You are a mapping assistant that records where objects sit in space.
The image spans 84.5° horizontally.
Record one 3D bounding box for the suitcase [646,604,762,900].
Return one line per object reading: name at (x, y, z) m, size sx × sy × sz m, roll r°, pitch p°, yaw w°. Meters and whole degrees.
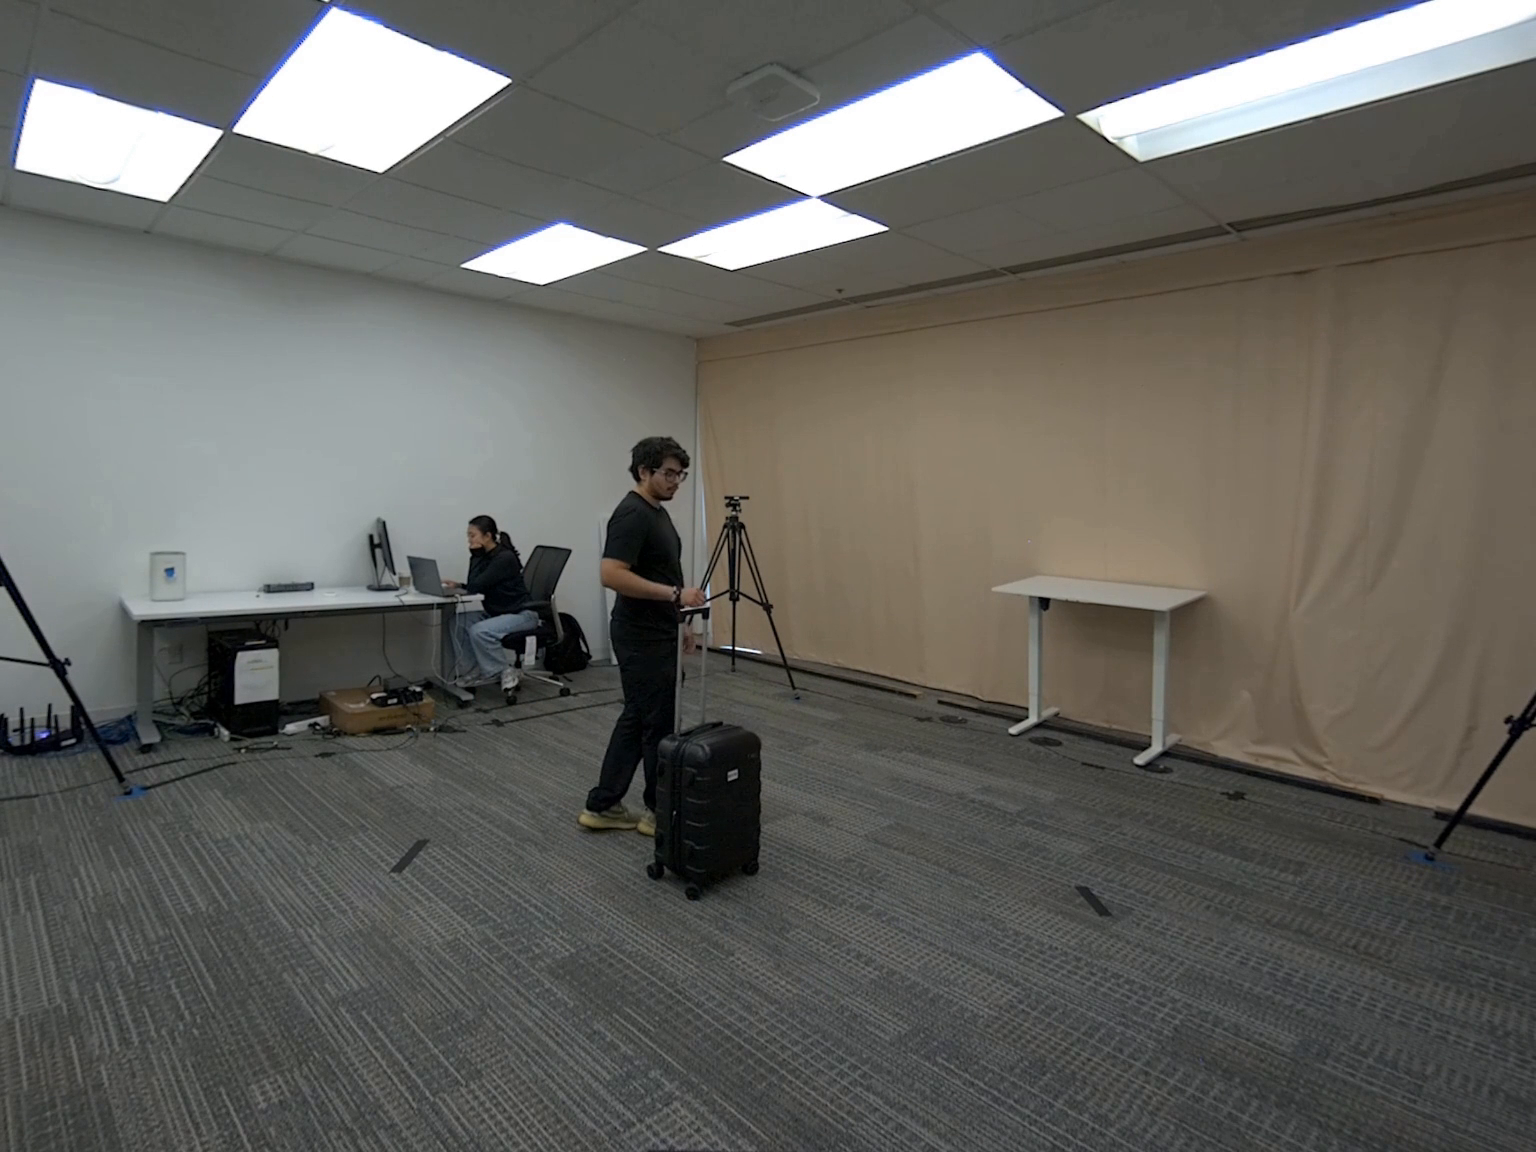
suitcase at (-0.214, 0.630, 3.064) m, size 0.264 × 0.976 × 0.375 m, roll 7°, pitch 5°, yaw 42°
